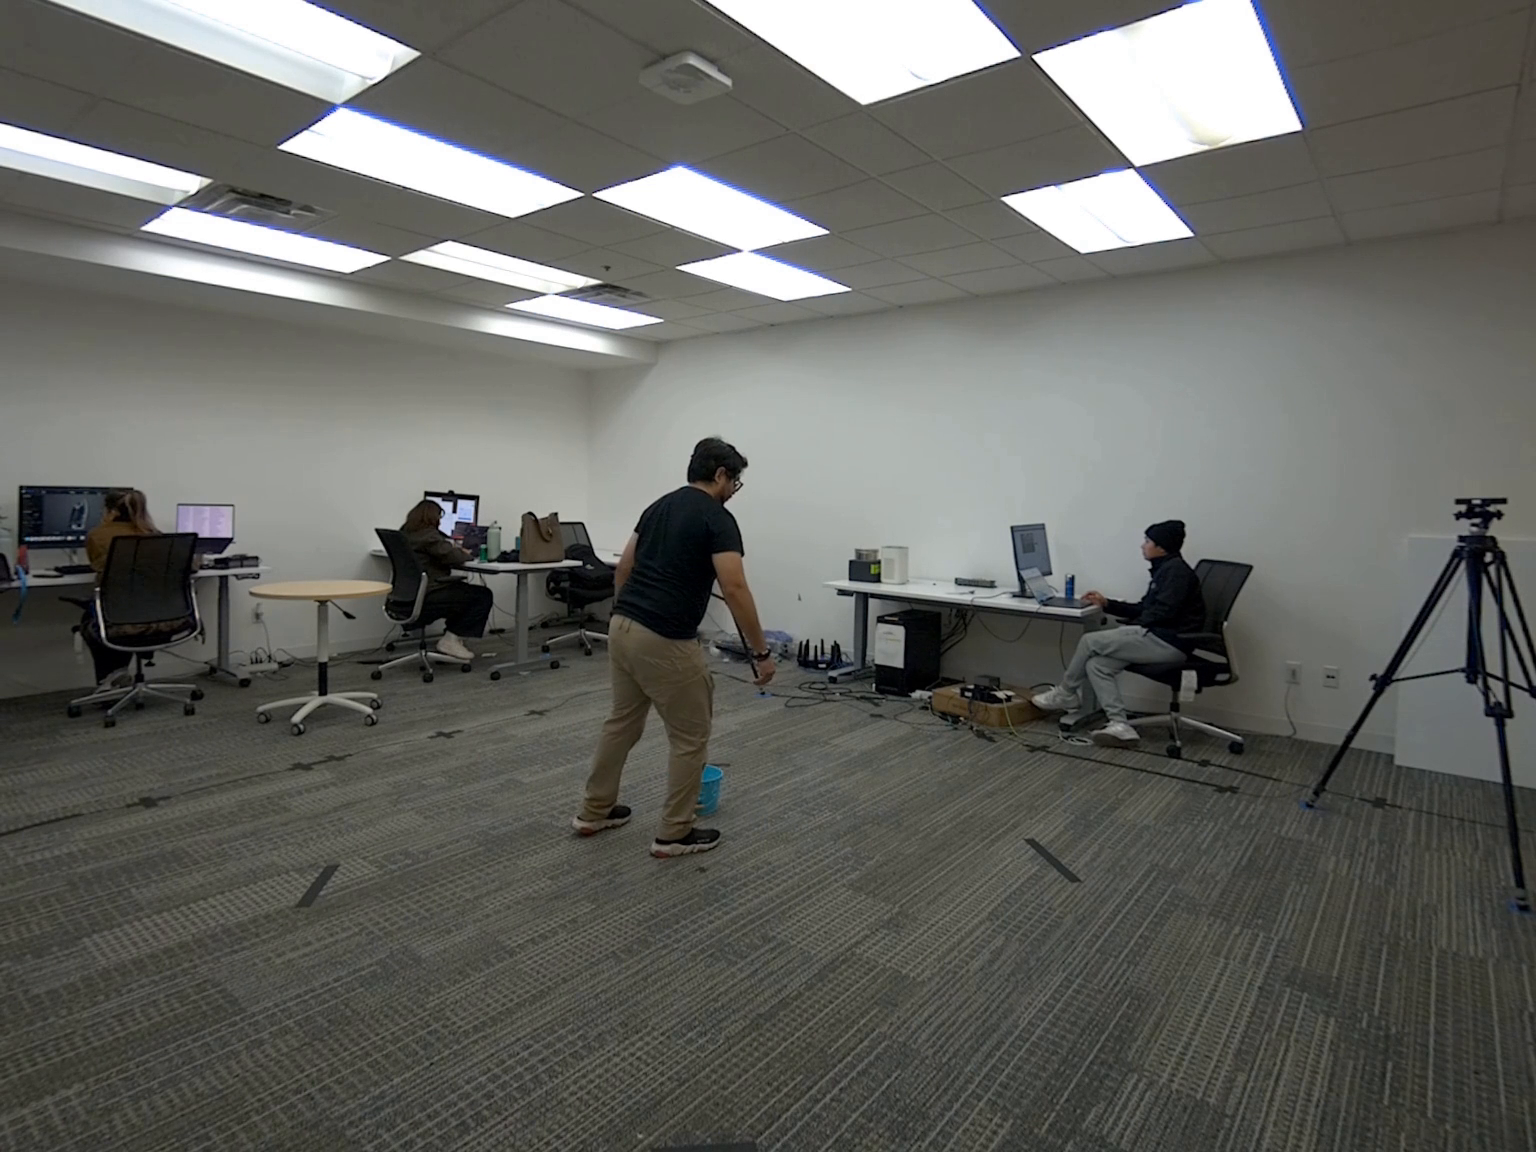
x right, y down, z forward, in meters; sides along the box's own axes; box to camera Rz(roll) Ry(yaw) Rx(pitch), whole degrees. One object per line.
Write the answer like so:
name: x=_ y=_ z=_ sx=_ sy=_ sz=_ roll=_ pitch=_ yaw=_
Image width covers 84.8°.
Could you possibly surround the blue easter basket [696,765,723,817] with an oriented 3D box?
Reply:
blue easter basket: x=-0.322 y=0.927 z=3.716 sx=0.243 sy=0.155 sz=0.245 roll=2 pitch=4 yaw=-2
